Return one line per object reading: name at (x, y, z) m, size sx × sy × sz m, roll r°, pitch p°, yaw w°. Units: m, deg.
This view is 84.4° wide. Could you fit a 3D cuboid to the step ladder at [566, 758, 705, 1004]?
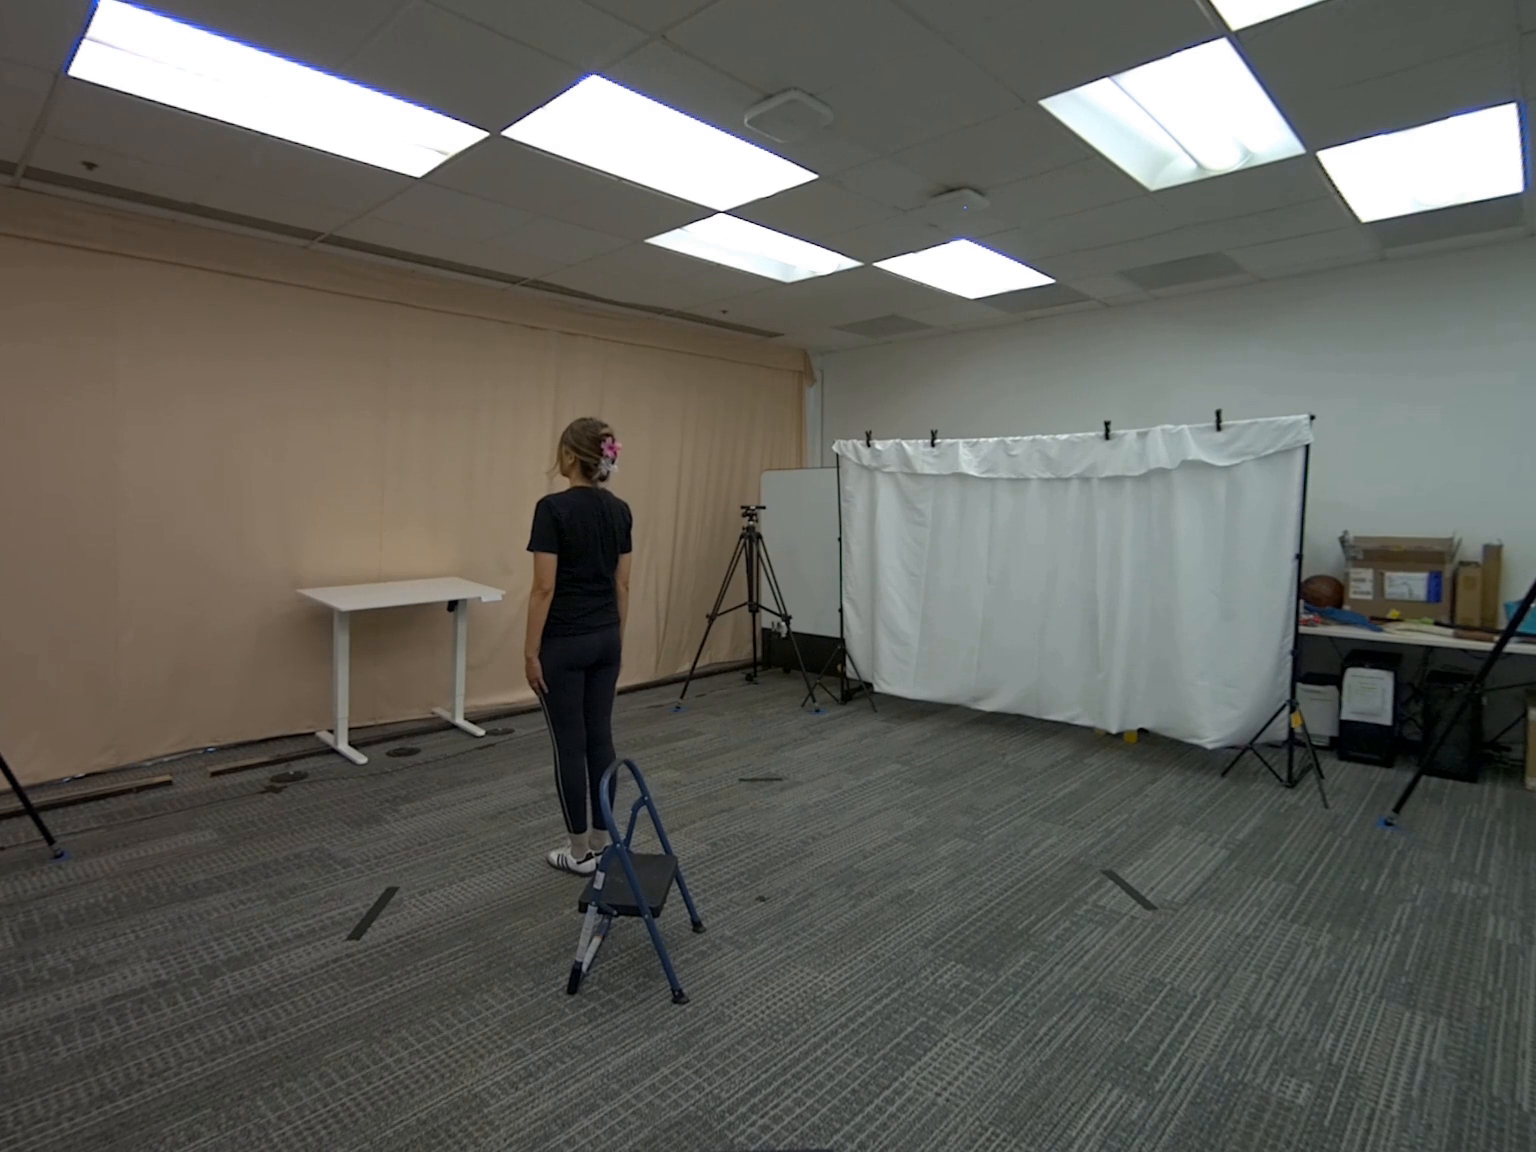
step ladder at (-0.390, 0.880, 2.567) m, size 0.351 × 0.605 × 0.429 m, roll 1°, pitch 4°, yaw 4°
